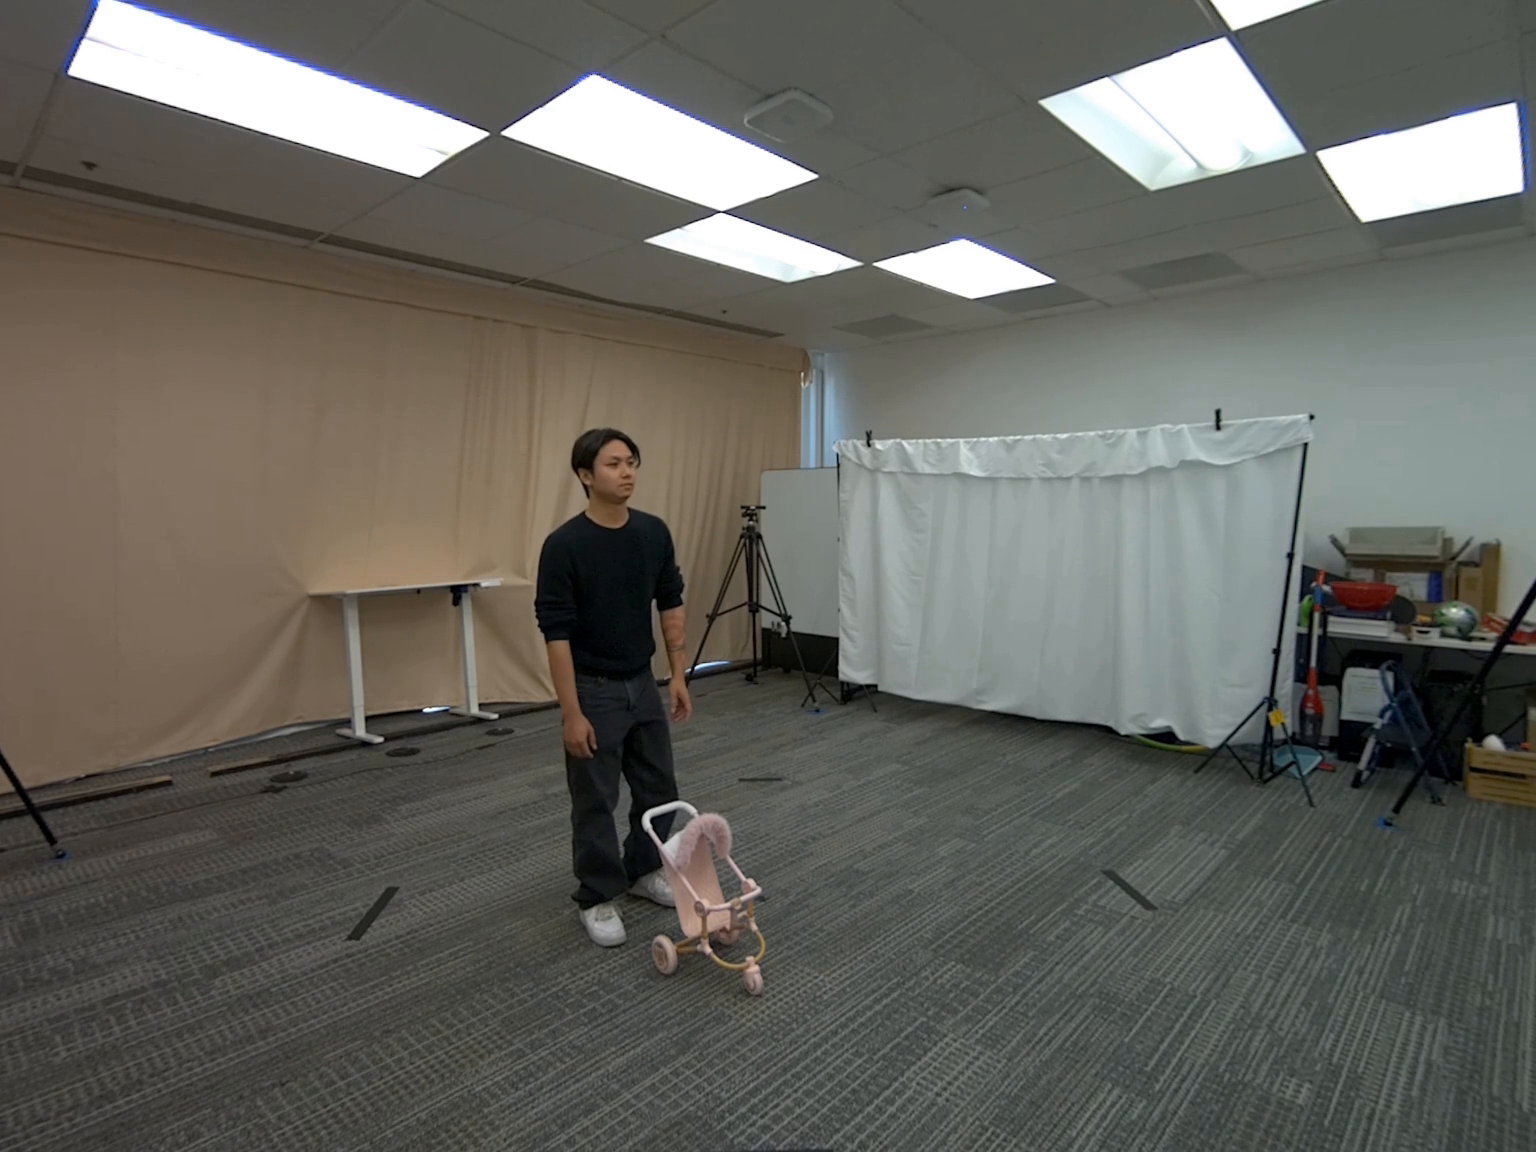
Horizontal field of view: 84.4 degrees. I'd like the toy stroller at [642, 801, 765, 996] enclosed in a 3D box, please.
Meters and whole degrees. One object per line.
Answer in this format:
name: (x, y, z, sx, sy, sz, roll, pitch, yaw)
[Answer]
toy stroller: (-0.174, 0.957, 2.533, 0.273, 0.539, 0.349, -3, -11, -39)
